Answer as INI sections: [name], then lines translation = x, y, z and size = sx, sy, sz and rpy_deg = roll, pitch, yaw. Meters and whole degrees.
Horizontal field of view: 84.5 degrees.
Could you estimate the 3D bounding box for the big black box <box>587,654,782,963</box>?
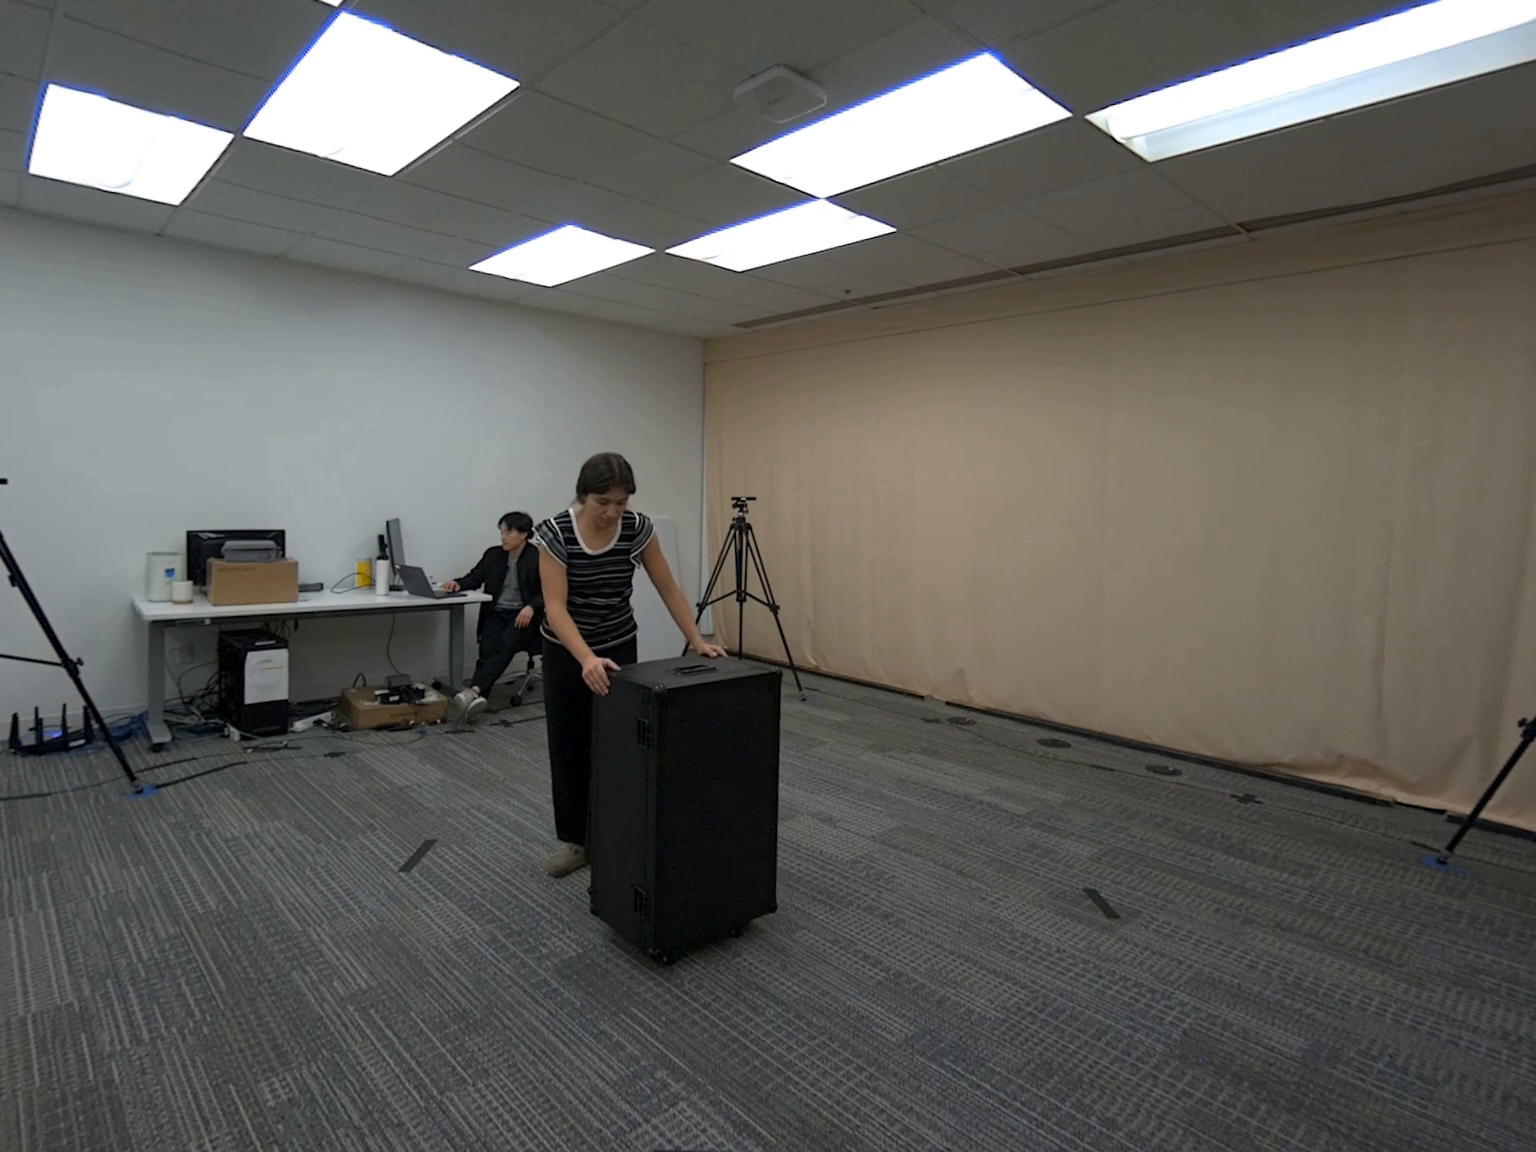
[big black box]
translation = -0.274, 0.719, 2.662
size = 0.509, 0.859, 0.406
rpy_deg = -2, 4, -42
